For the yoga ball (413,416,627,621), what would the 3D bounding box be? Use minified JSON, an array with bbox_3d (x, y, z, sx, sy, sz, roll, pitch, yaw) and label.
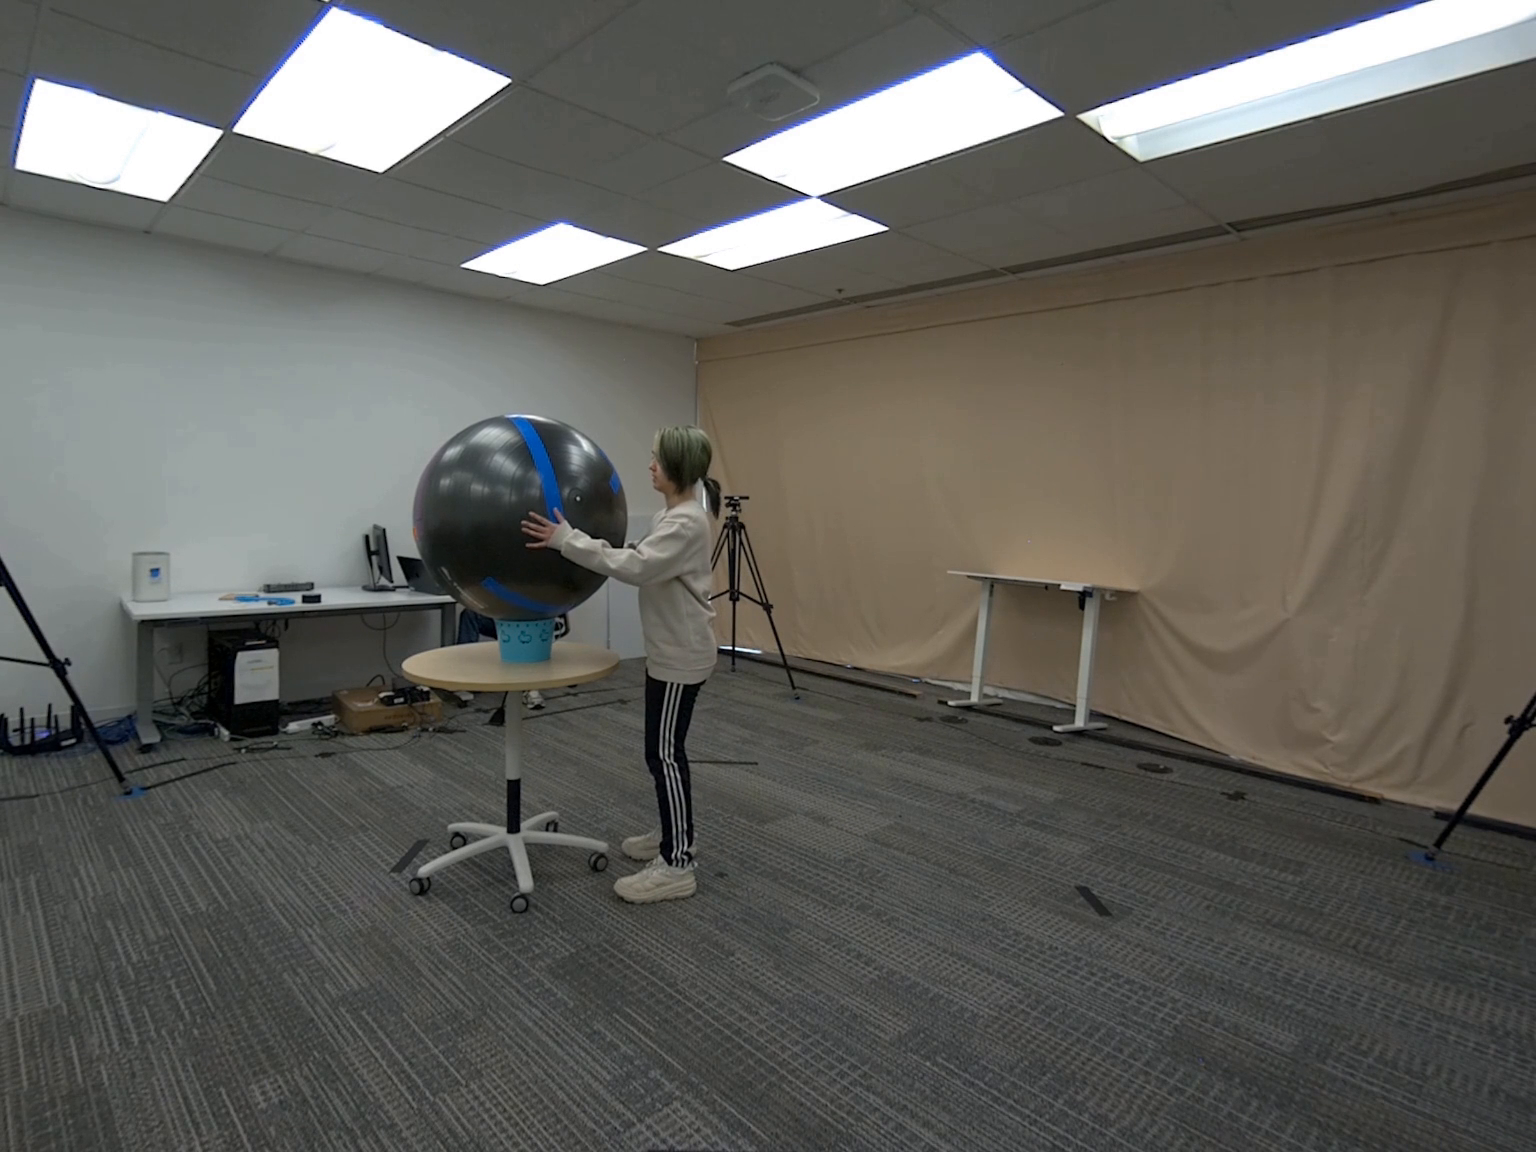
[{"bbox_3d":[-0.903,-0.208,3.083,0.757,0.756,0.761,1,4,-1],"label":"yoga ball"}]
